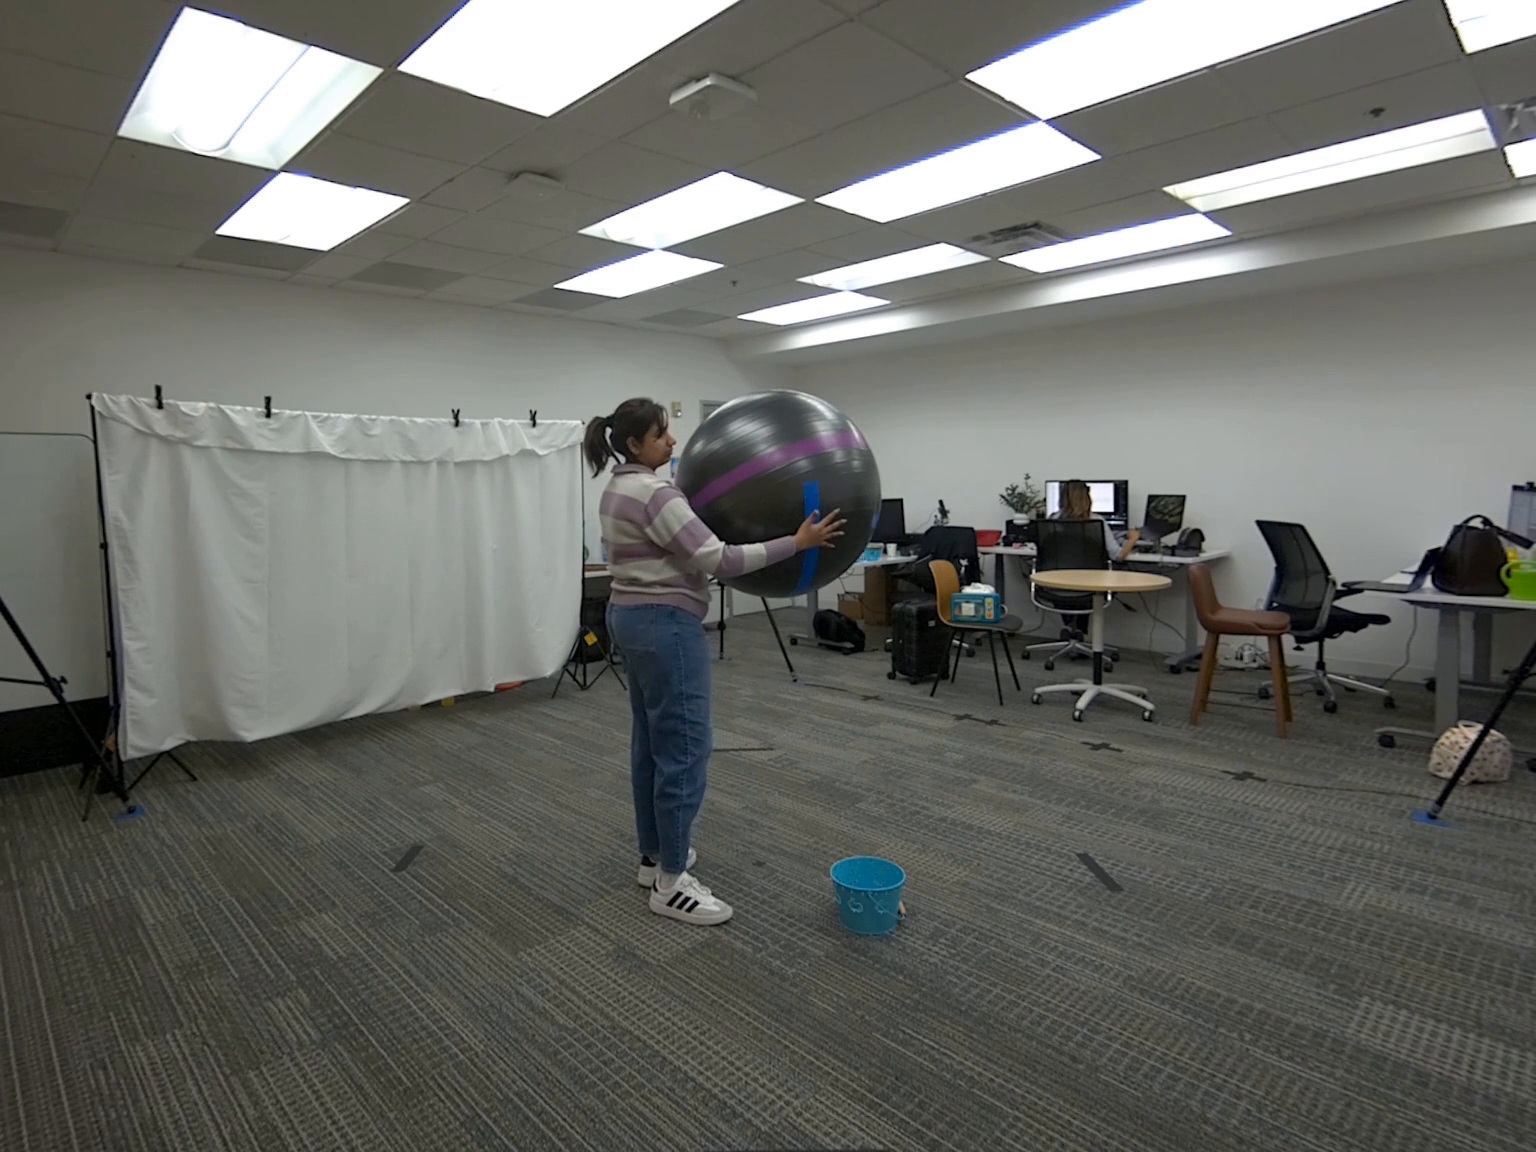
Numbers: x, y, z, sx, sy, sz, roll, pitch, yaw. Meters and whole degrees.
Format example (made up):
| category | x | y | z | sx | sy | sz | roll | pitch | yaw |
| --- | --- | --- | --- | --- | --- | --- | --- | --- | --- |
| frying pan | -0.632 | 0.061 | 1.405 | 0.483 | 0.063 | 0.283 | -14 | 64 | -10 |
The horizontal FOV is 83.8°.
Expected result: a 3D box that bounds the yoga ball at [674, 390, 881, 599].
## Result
| category | x | y | z | sx | sy | sz | roll | pitch | yaw |
| --- | --- | --- | --- | --- | --- | --- | --- | --- | --- |
| yoga ball | 0.041 | -0.300 | 3.144 | 0.757 | 0.755 | 0.762 | -1 | 5 | -2 |
